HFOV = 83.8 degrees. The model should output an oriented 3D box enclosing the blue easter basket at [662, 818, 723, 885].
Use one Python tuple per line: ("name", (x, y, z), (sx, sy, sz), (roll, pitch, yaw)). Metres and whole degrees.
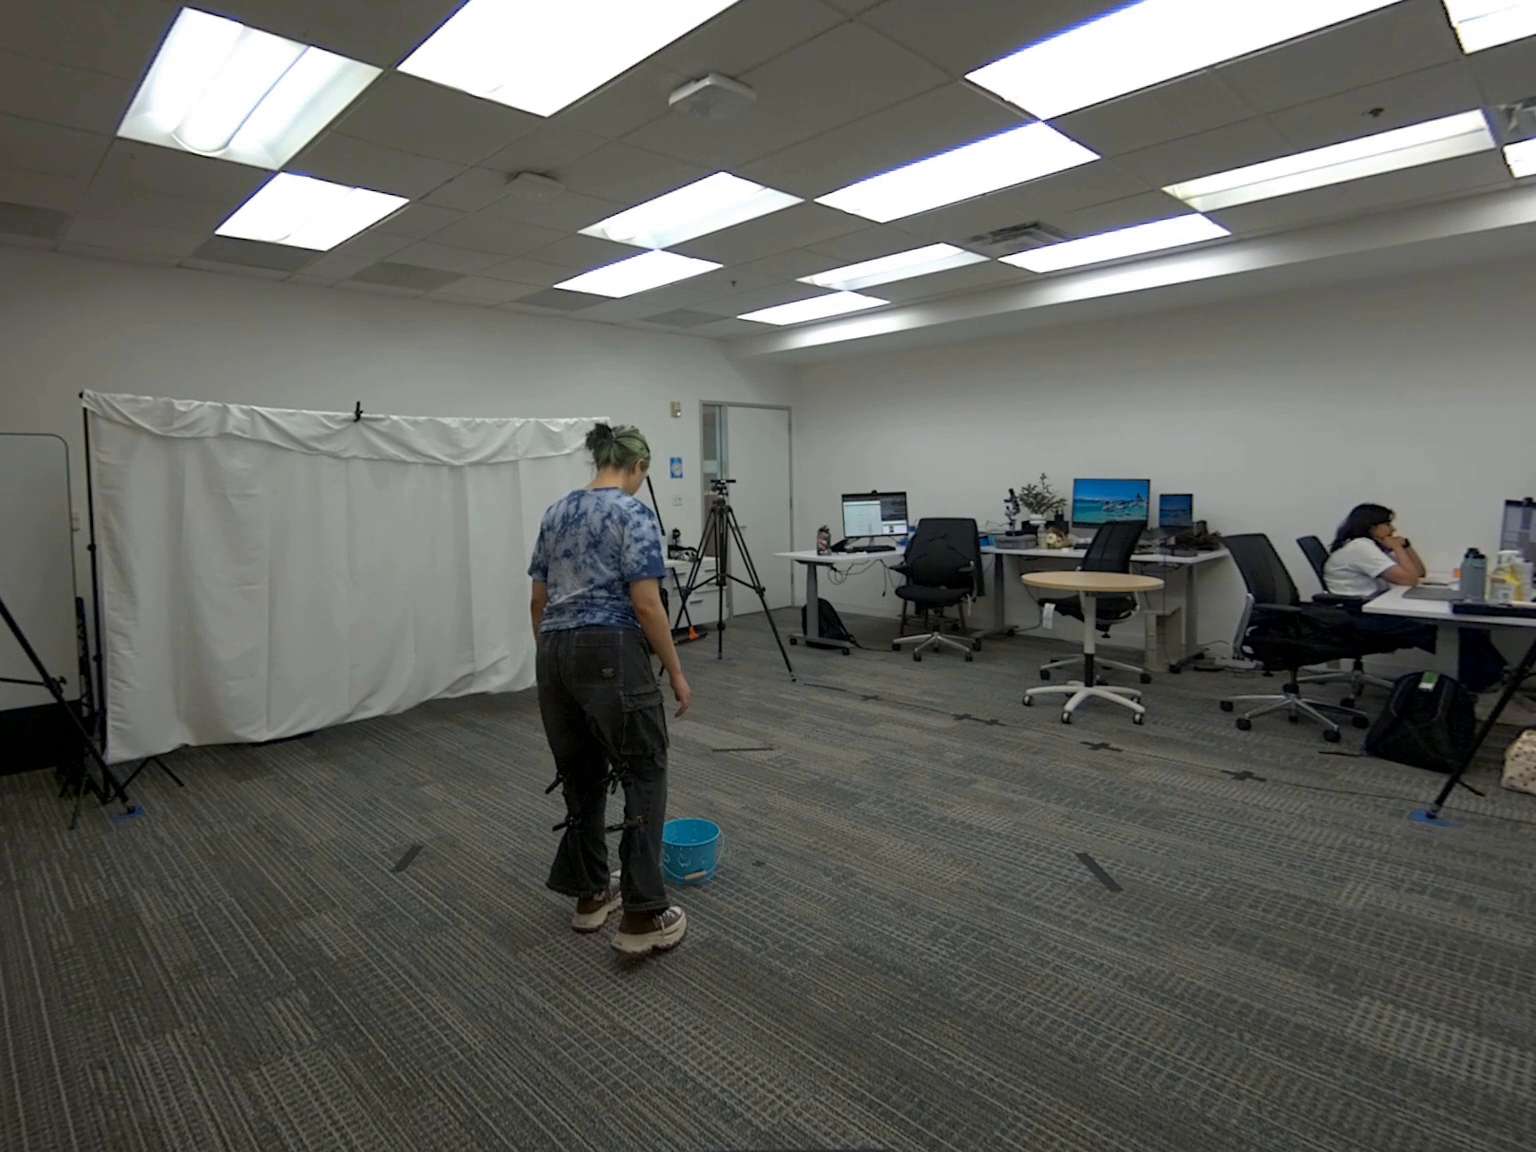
("blue easter basket", (-0.285, 0.978, 3.040), (0.243, 0.155, 0.245), (0, 6, -2))
